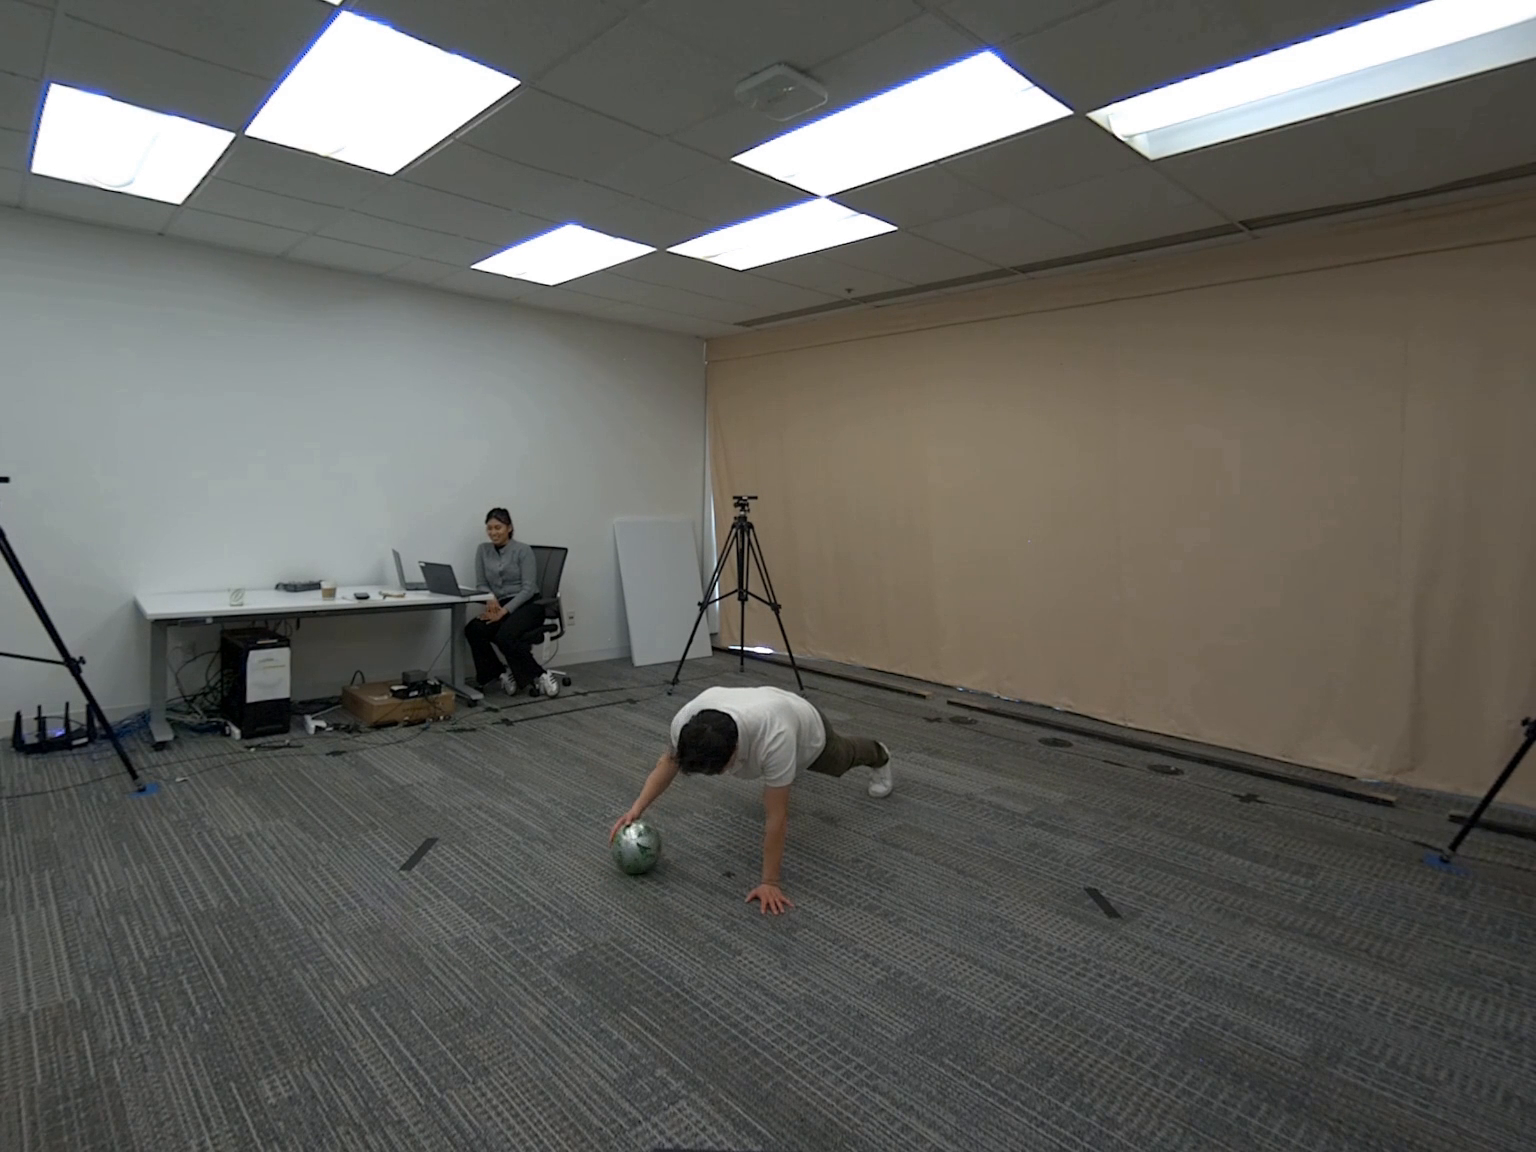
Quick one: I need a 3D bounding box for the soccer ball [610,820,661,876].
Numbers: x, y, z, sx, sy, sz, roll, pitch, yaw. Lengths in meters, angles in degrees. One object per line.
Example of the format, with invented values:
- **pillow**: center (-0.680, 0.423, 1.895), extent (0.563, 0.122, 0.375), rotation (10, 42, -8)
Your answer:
- **soccer ball**: center (-0.484, 0.997, 3.103), extent (0.187, 0.187, 0.188), rotation (1, 4, -1)
